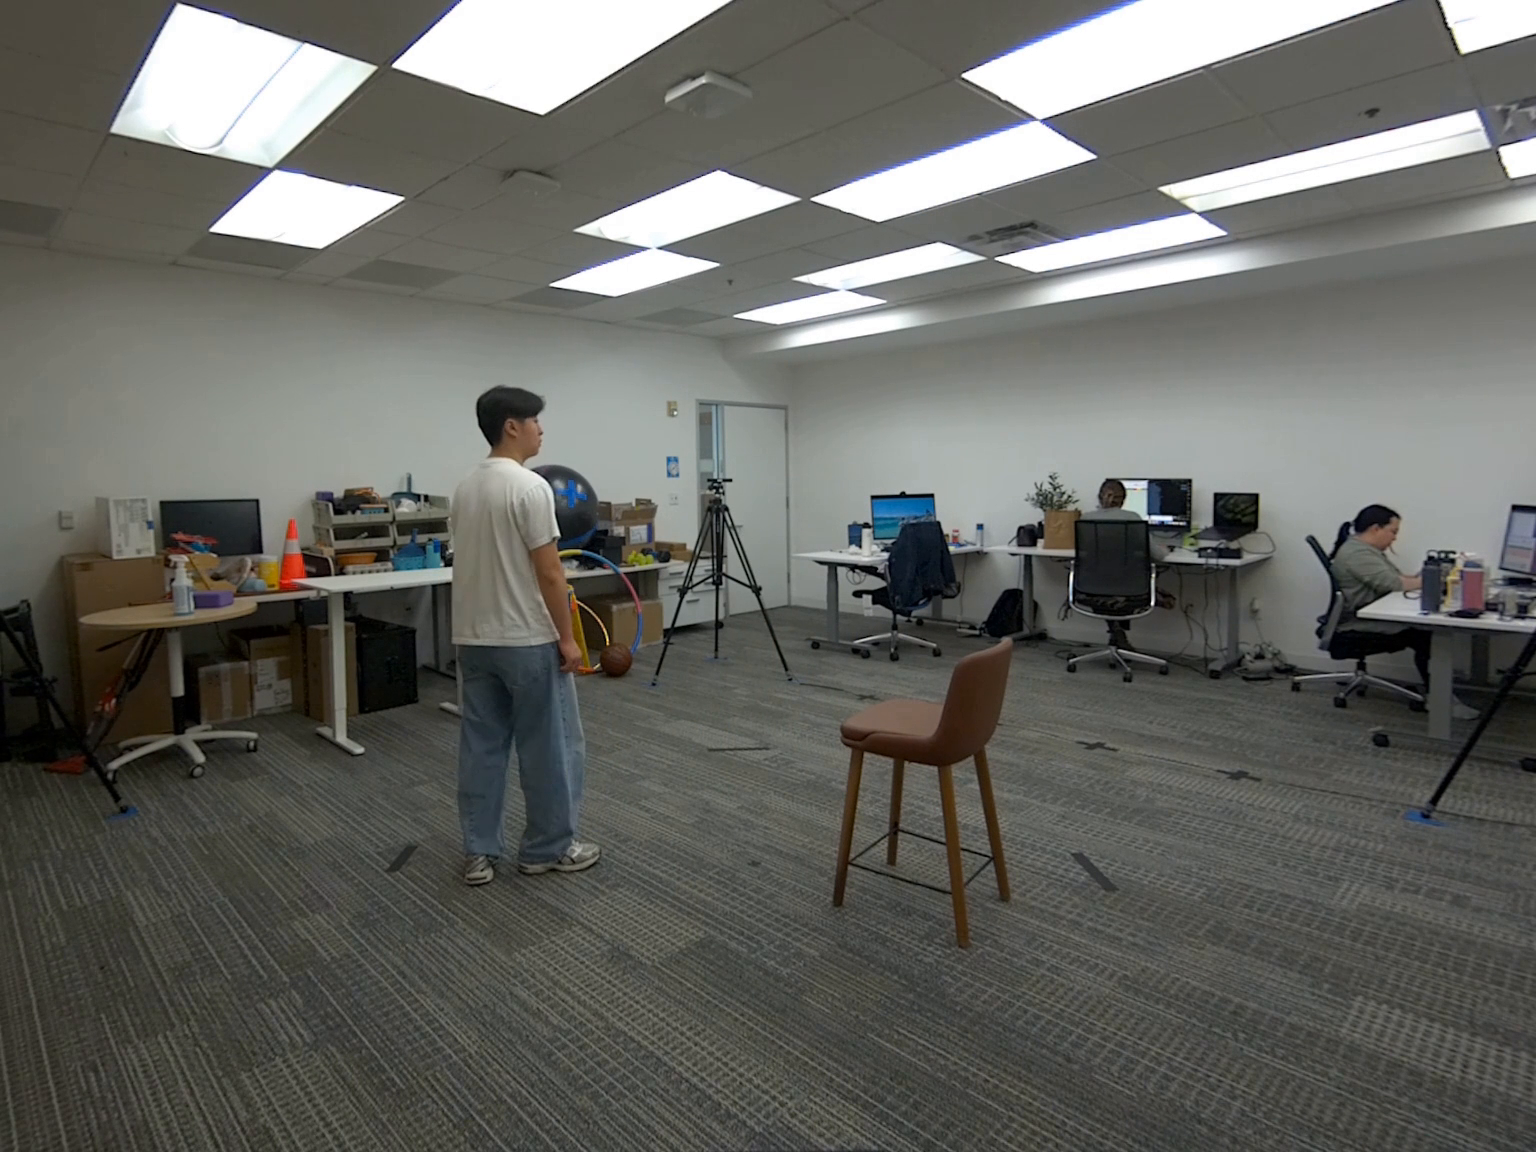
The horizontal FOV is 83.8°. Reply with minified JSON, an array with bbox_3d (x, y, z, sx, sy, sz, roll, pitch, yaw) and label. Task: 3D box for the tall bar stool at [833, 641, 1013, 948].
[{"bbox_3d":[0.508,0.637,2.772,0.482,0.885,0.445,5,7,37],"label":"tall bar stool"}]
